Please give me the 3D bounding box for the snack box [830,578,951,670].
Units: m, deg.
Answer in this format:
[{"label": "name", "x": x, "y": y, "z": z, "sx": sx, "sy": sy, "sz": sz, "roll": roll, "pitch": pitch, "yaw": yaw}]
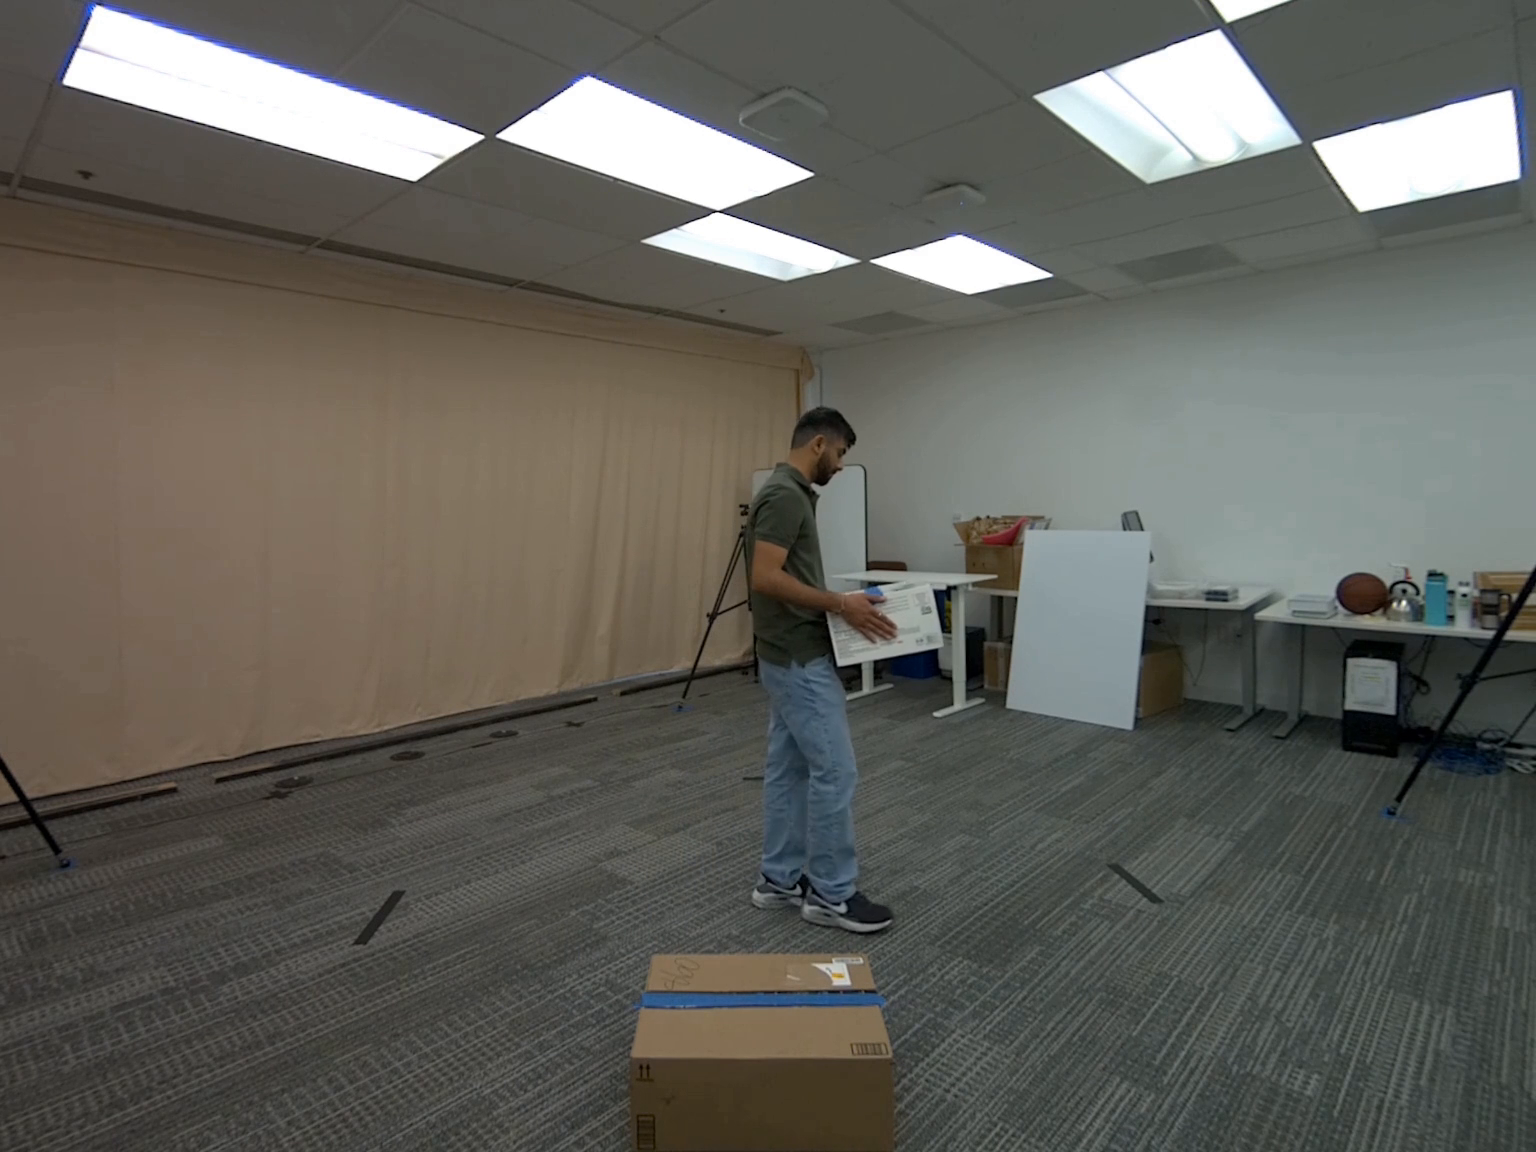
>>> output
[{"label": "snack box", "x": 0.389, "y": 0.149, "z": 2.833, "sx": 0.343, "sy": 0.206, "sz": 0.402, "roll": -11, "pitch": 1, "yaw": 6}]
